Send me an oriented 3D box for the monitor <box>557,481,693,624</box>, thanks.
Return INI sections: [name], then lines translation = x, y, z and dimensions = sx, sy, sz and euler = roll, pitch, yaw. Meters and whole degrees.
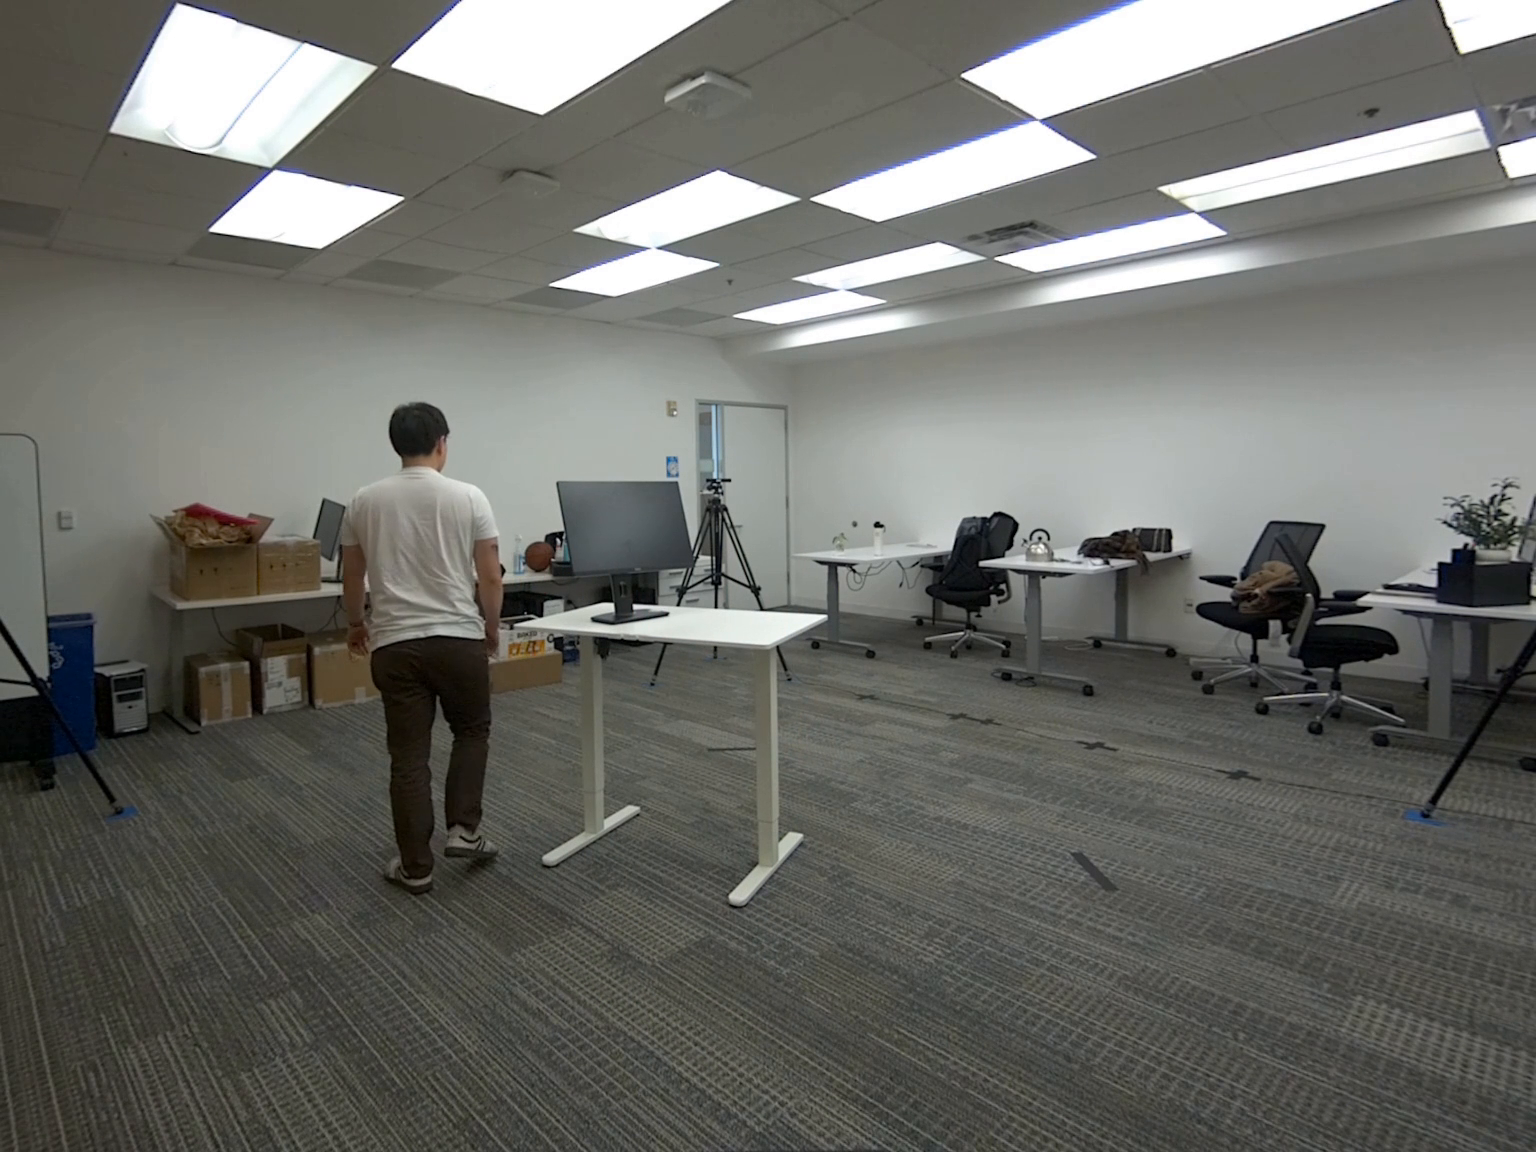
[monitor]
translation = -0.531, -0.095, 3.210
dimensions = 0.524, 0.523, 0.192
euler = -4, 0, -43
